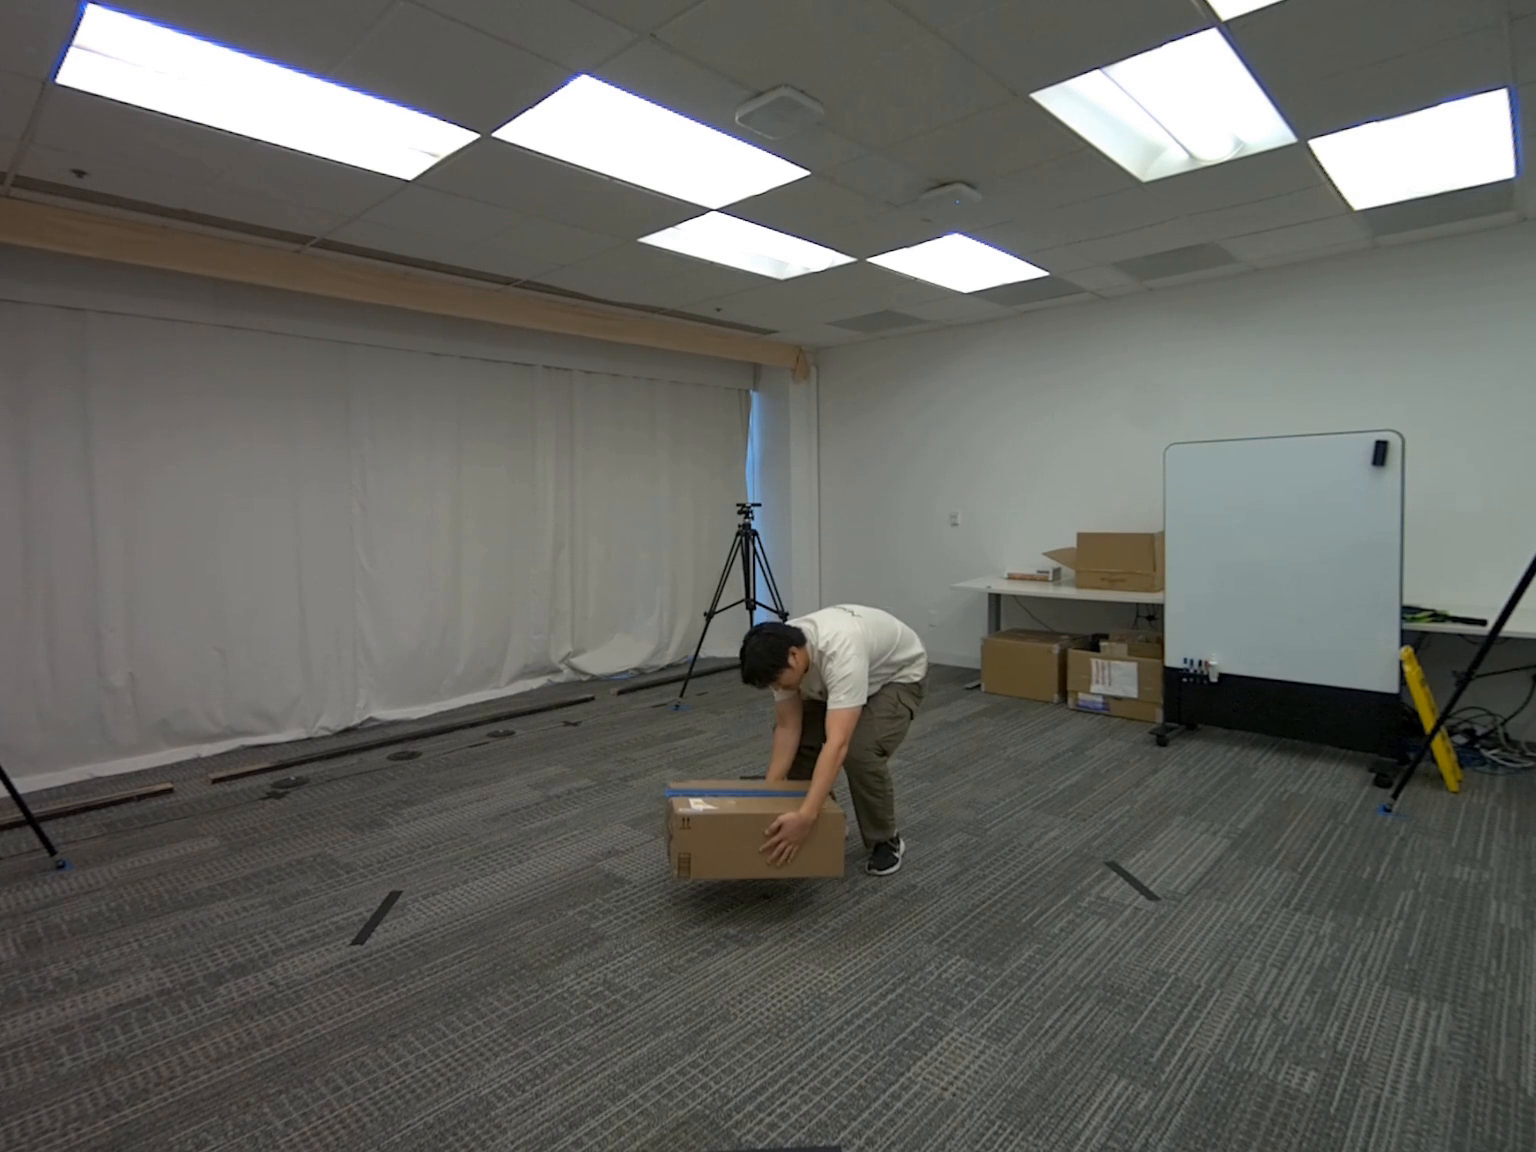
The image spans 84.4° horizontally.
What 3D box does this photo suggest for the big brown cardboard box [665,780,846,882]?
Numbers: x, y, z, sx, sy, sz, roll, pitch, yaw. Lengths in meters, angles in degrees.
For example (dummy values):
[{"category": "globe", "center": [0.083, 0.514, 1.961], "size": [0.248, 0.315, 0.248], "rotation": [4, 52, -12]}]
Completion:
[{"category": "big brown cardboard box", "center": [-0.068, 0.860, 2.933], "size": [0.583, 0.233, 0.422], "rotation": [3, 0, -10]}]
